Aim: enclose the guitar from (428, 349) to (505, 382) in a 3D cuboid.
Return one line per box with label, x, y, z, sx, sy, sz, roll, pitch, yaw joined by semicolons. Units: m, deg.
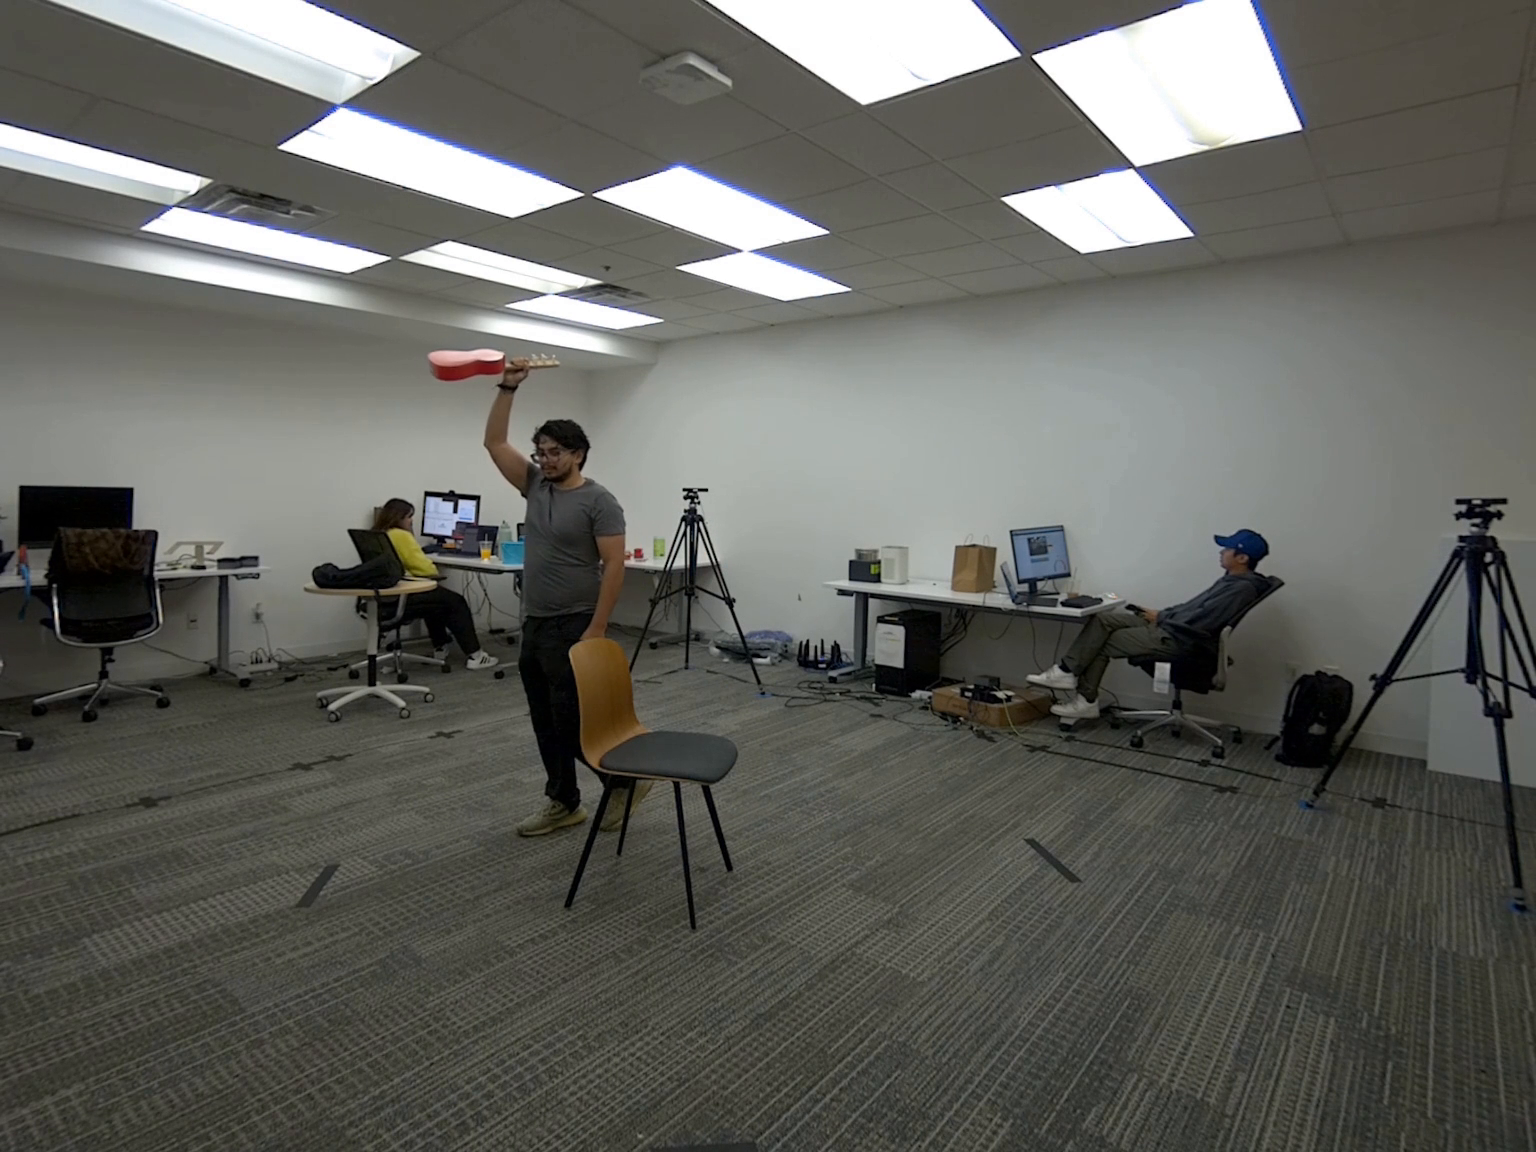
guitar;-1.074;-0.836;3.279;0.488;0.069;0.201;-20;38;-35
